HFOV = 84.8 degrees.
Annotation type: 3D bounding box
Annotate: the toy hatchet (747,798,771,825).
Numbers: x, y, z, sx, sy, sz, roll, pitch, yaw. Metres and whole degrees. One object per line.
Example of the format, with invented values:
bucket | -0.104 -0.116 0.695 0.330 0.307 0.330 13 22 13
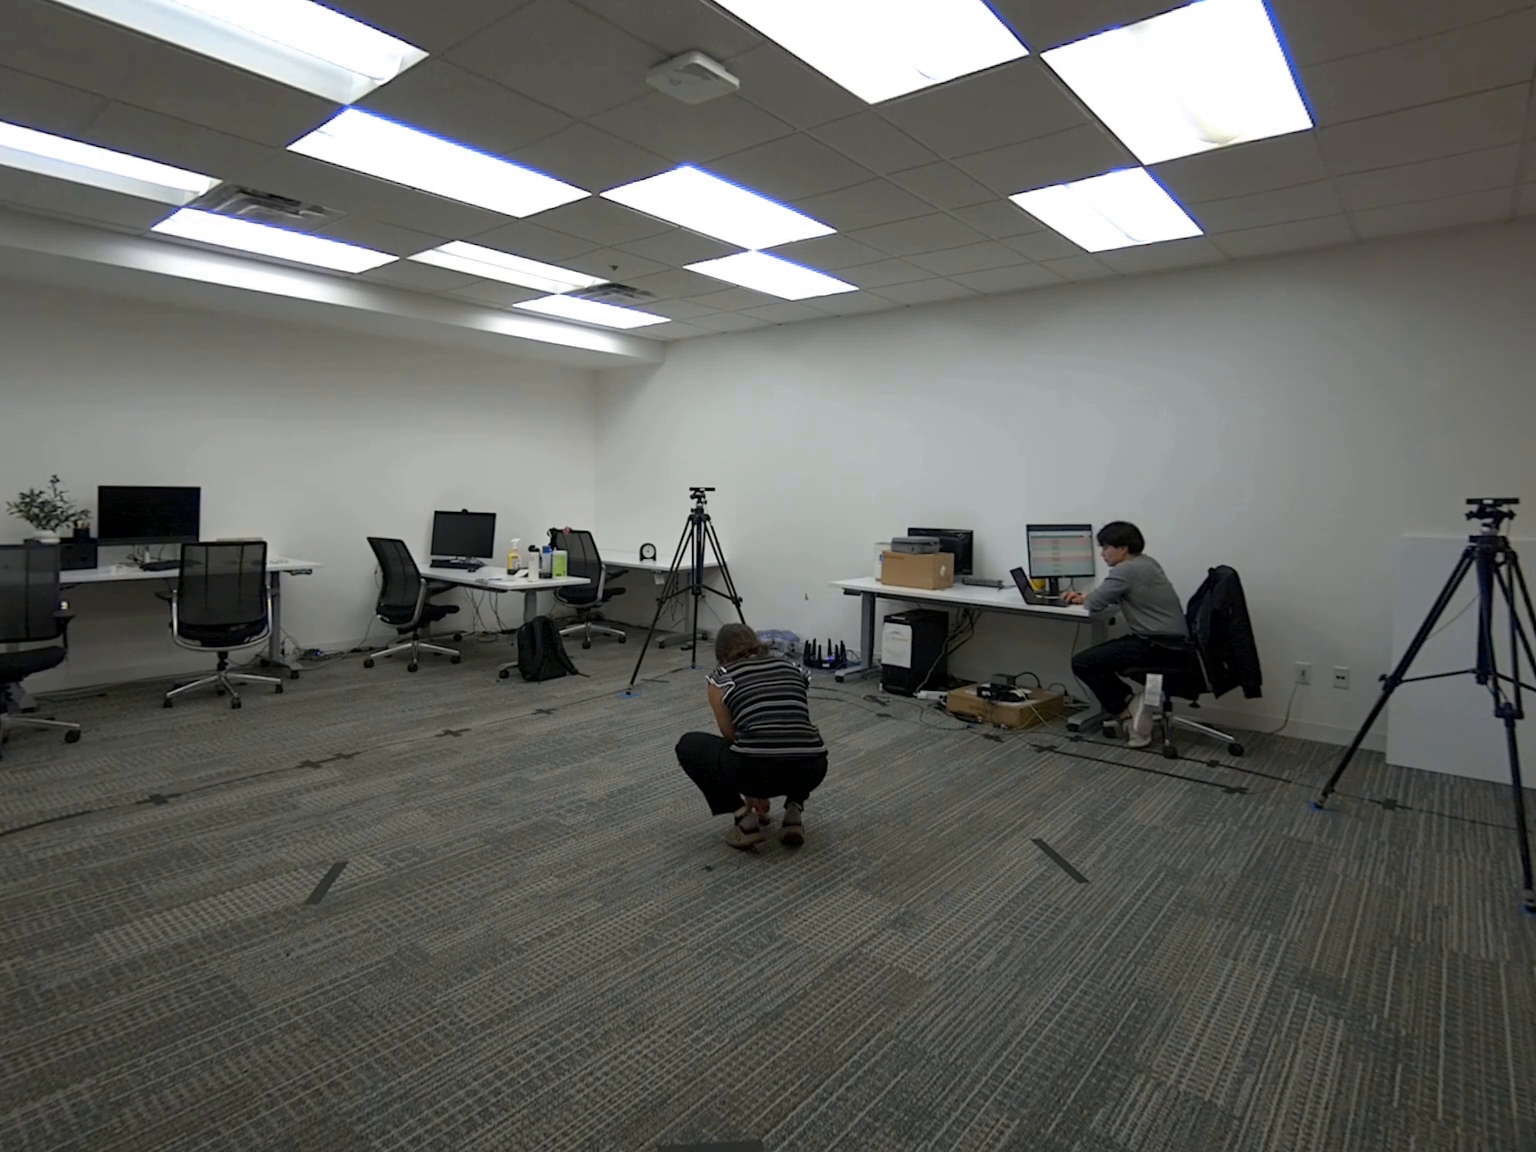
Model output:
toy hatchet | -0.064 0.997 3.666 0.127 0.029 0.280 -1 8 -41
